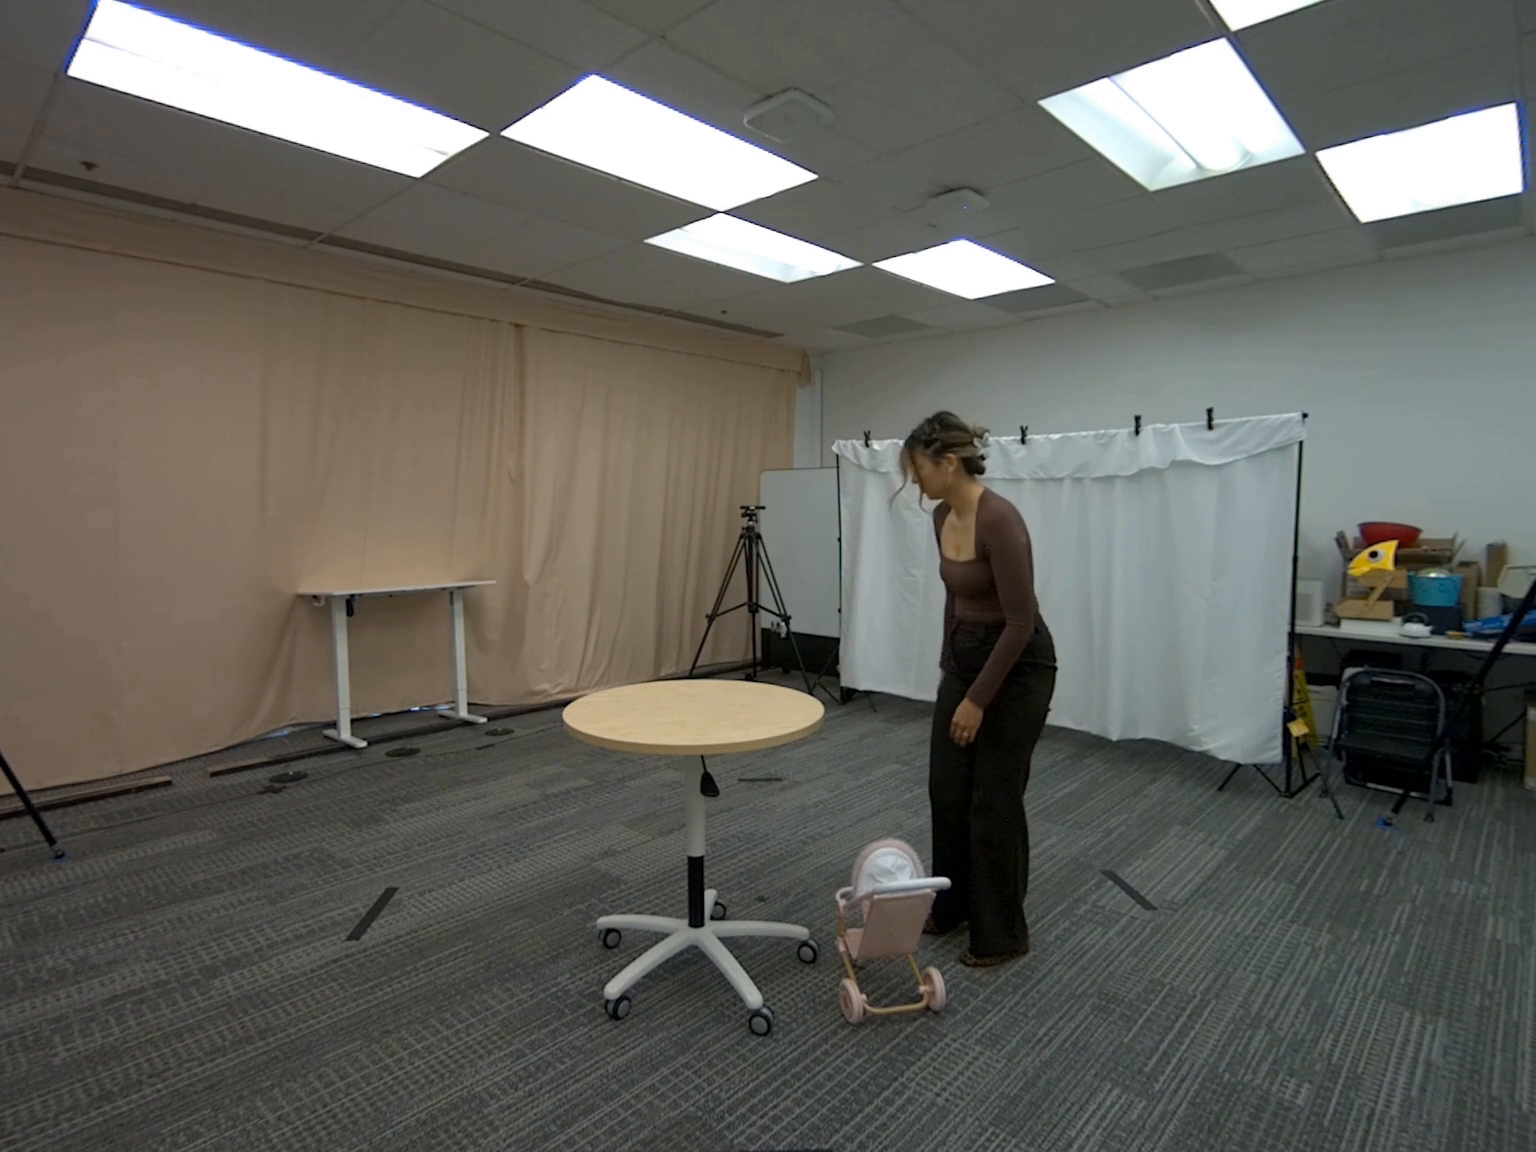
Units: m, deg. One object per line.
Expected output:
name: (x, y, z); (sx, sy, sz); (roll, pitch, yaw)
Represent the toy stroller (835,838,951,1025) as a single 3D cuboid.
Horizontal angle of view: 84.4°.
toy stroller: (0.330, 0.968, 2.356); (0.278, 0.530, 0.348); (0, 18, -11)
